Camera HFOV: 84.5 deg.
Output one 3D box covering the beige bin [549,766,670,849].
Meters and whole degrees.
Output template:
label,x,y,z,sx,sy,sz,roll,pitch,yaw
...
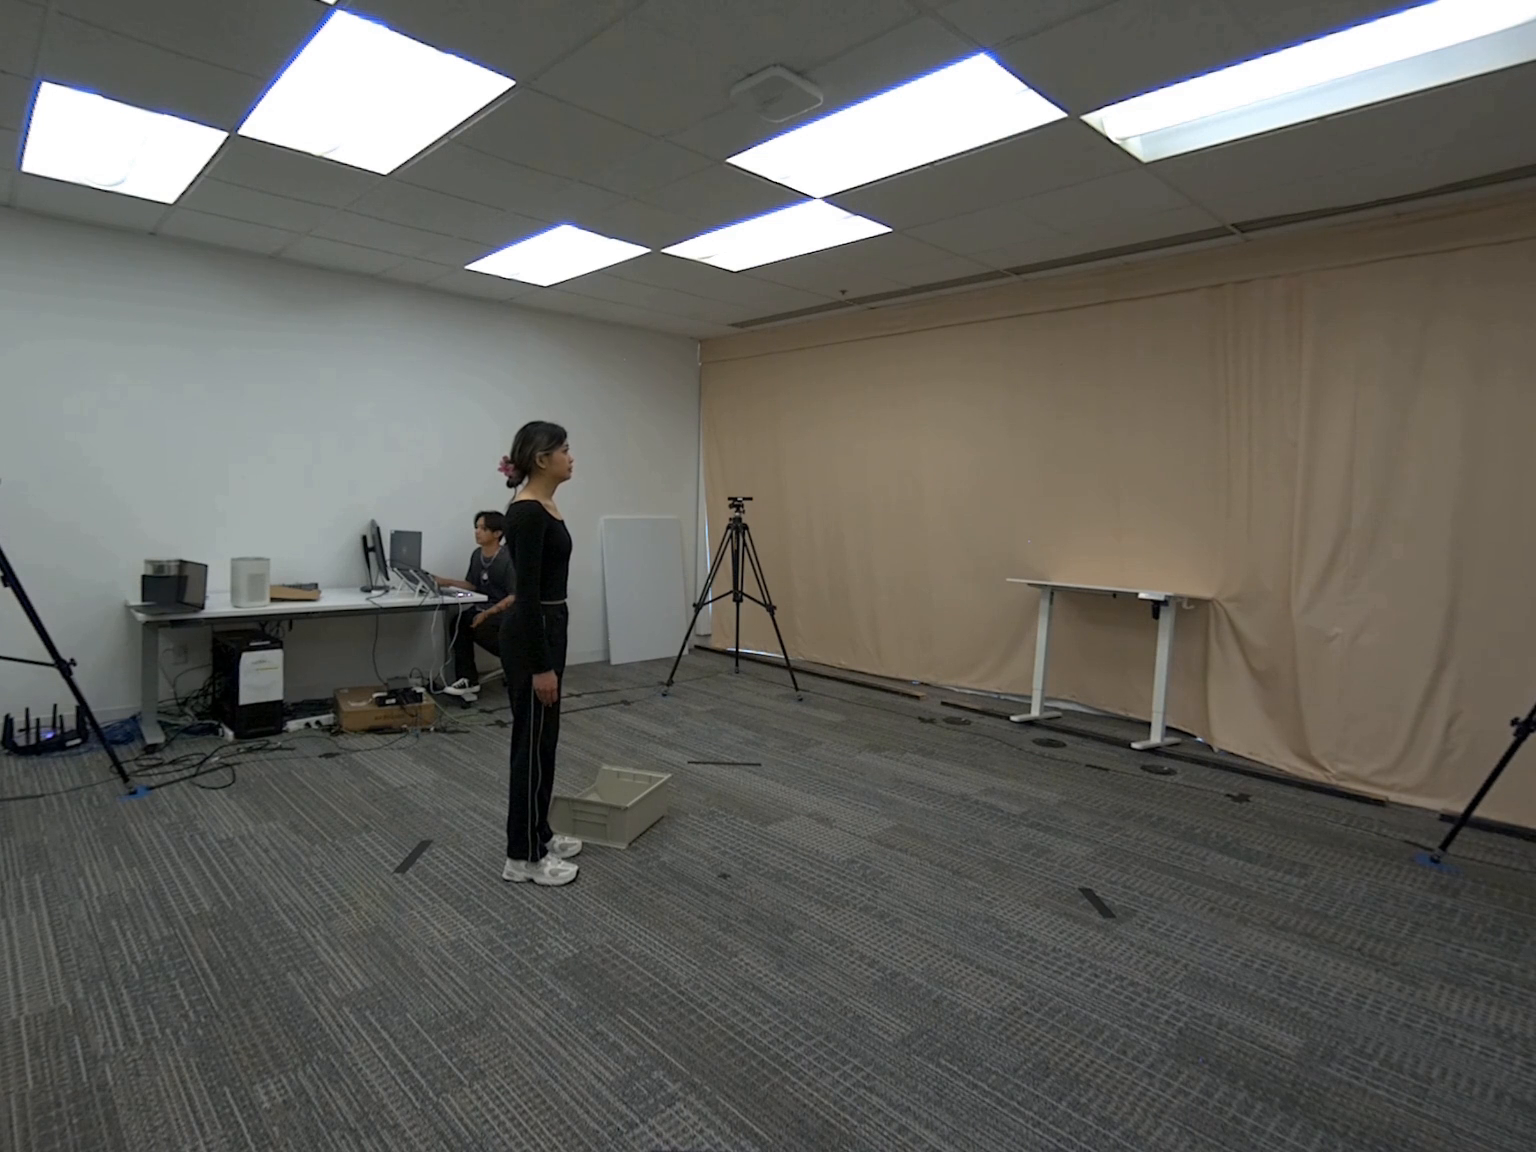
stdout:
label,x,y,z,sx,sy,sz,roll,pitch,yaw
beige bin,-0.679,0.969,3.563,0.383,0.188,0.417,4,5,19
